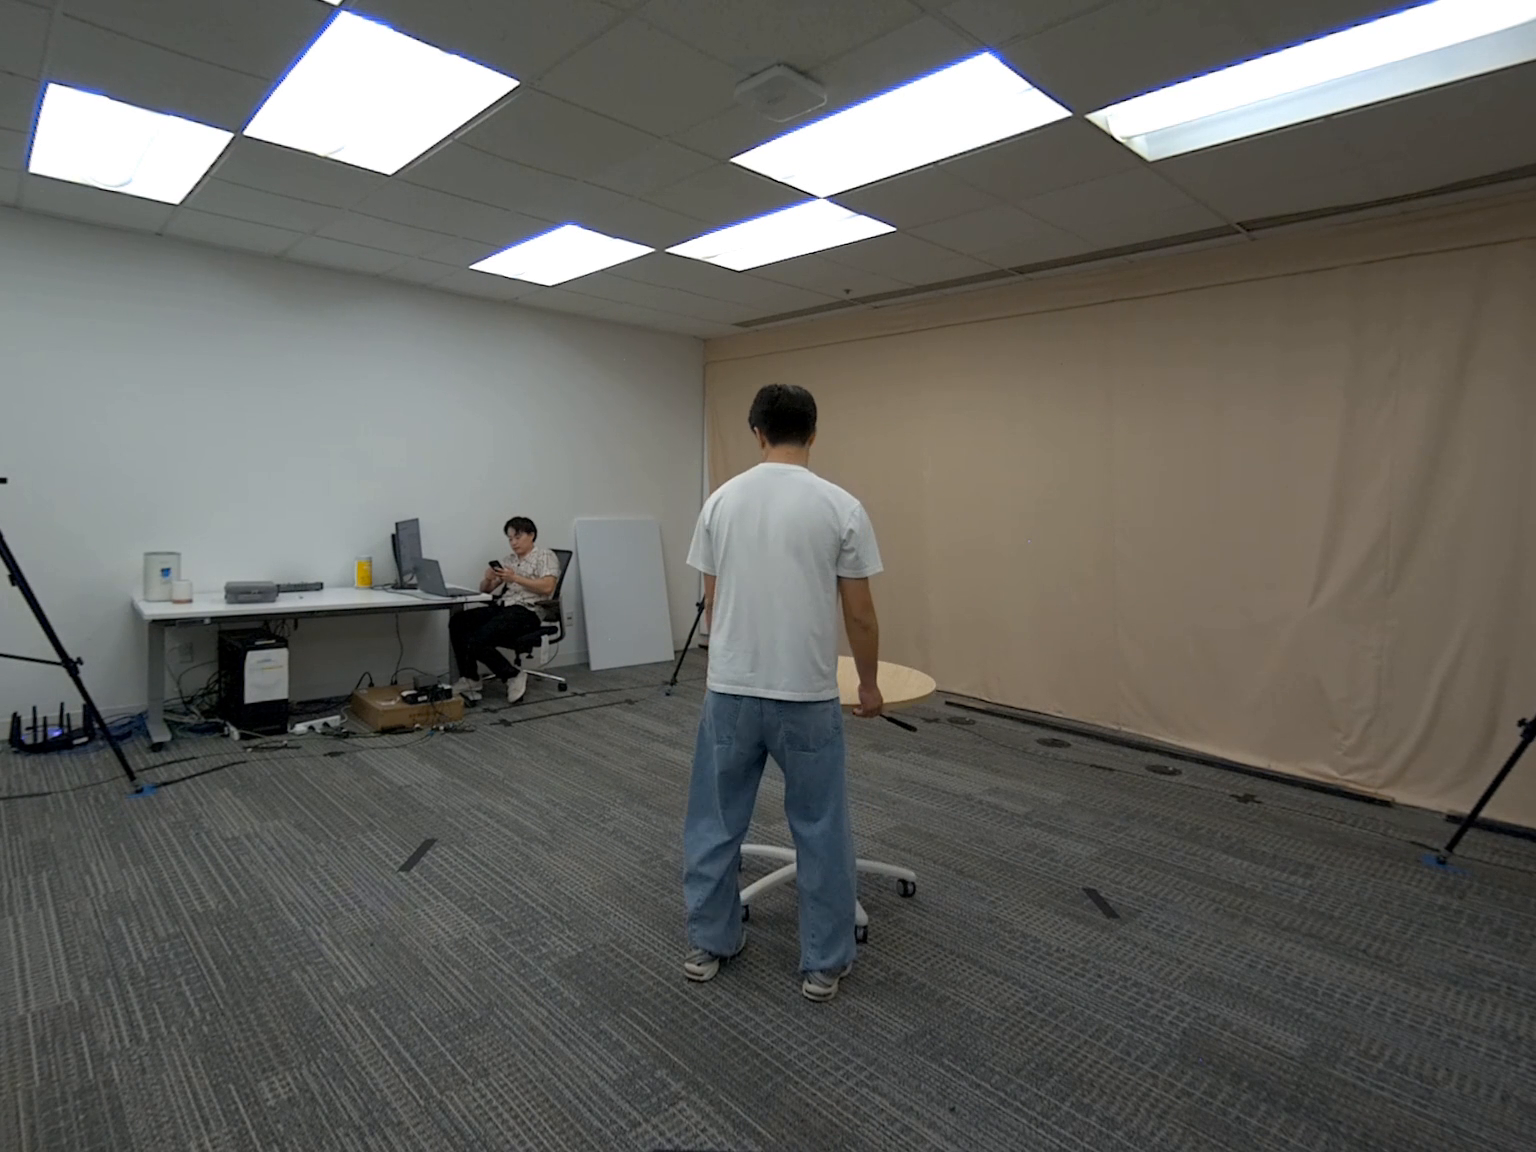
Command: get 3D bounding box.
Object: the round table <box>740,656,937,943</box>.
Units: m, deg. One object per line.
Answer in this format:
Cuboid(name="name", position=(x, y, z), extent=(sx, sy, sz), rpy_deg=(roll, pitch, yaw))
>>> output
Cuboid(name="round table", position=(0.169, 0.741, 2.938), extent=(0.763, 0.791, 0.767), rpy_deg=(2, 5, -2))
